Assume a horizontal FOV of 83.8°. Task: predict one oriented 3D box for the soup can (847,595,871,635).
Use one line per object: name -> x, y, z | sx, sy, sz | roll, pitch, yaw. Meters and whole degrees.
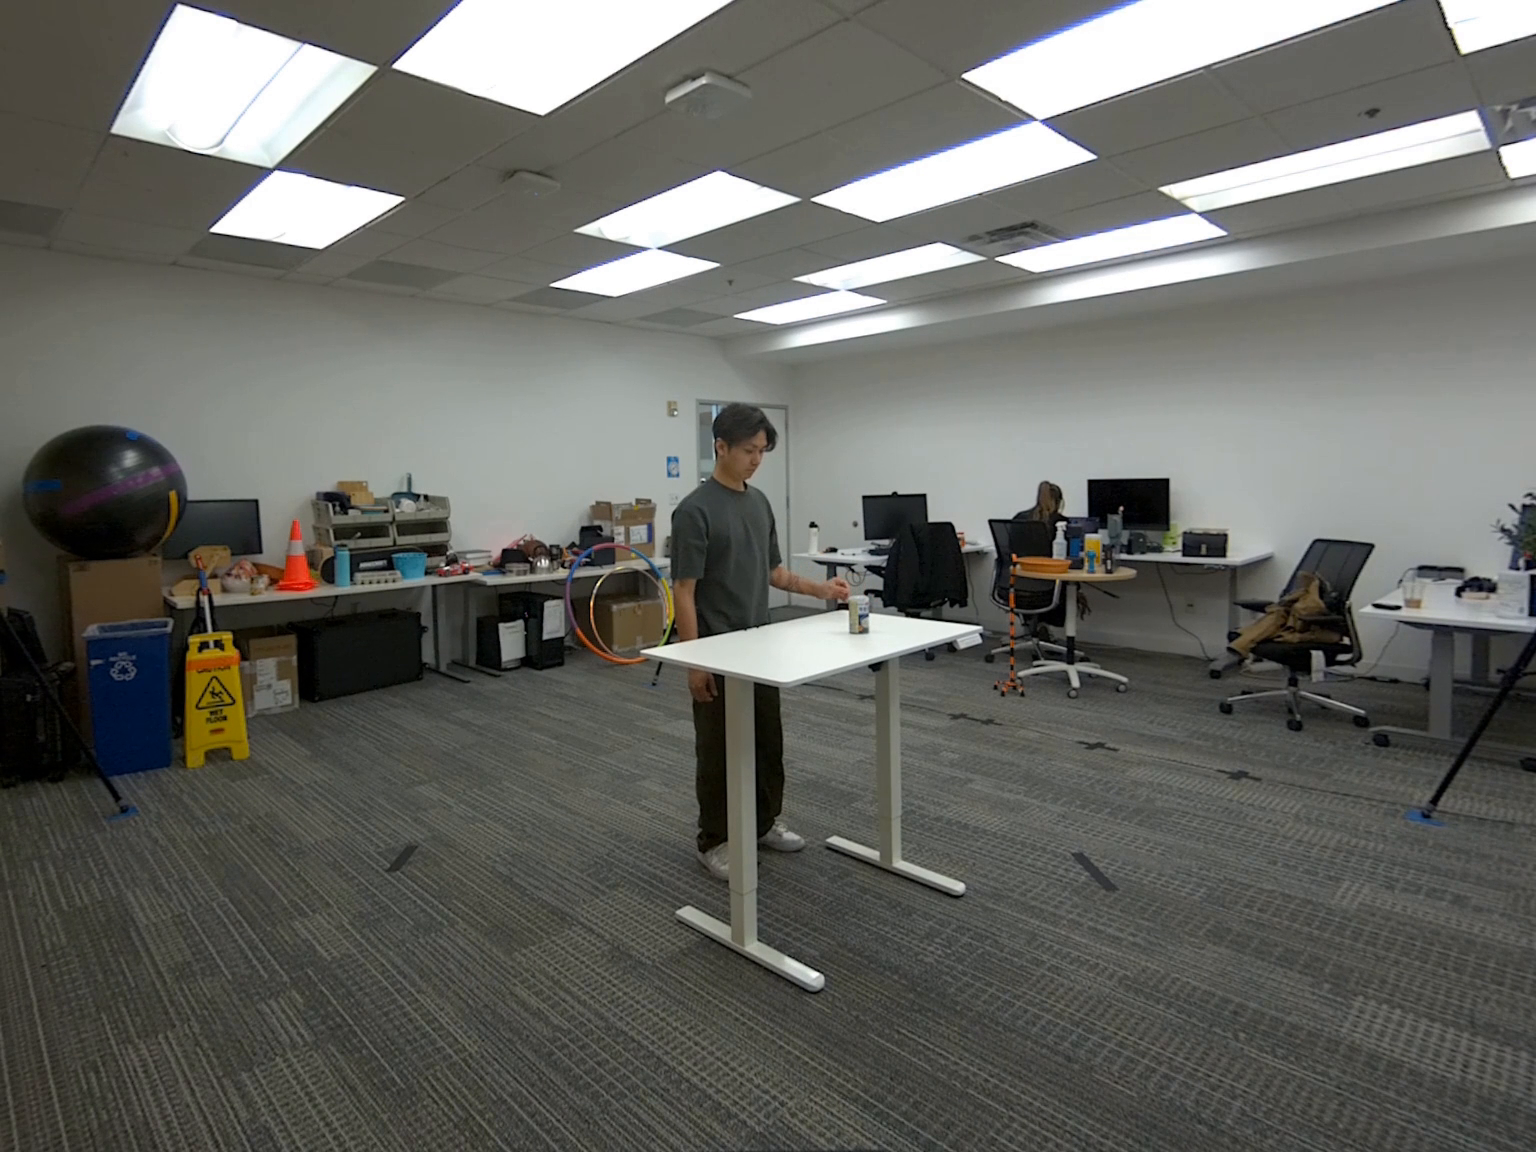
soup can -> 0.295, 0.127, 2.825 | 0.067, 0.121, 0.067 | -2, 5, -1
